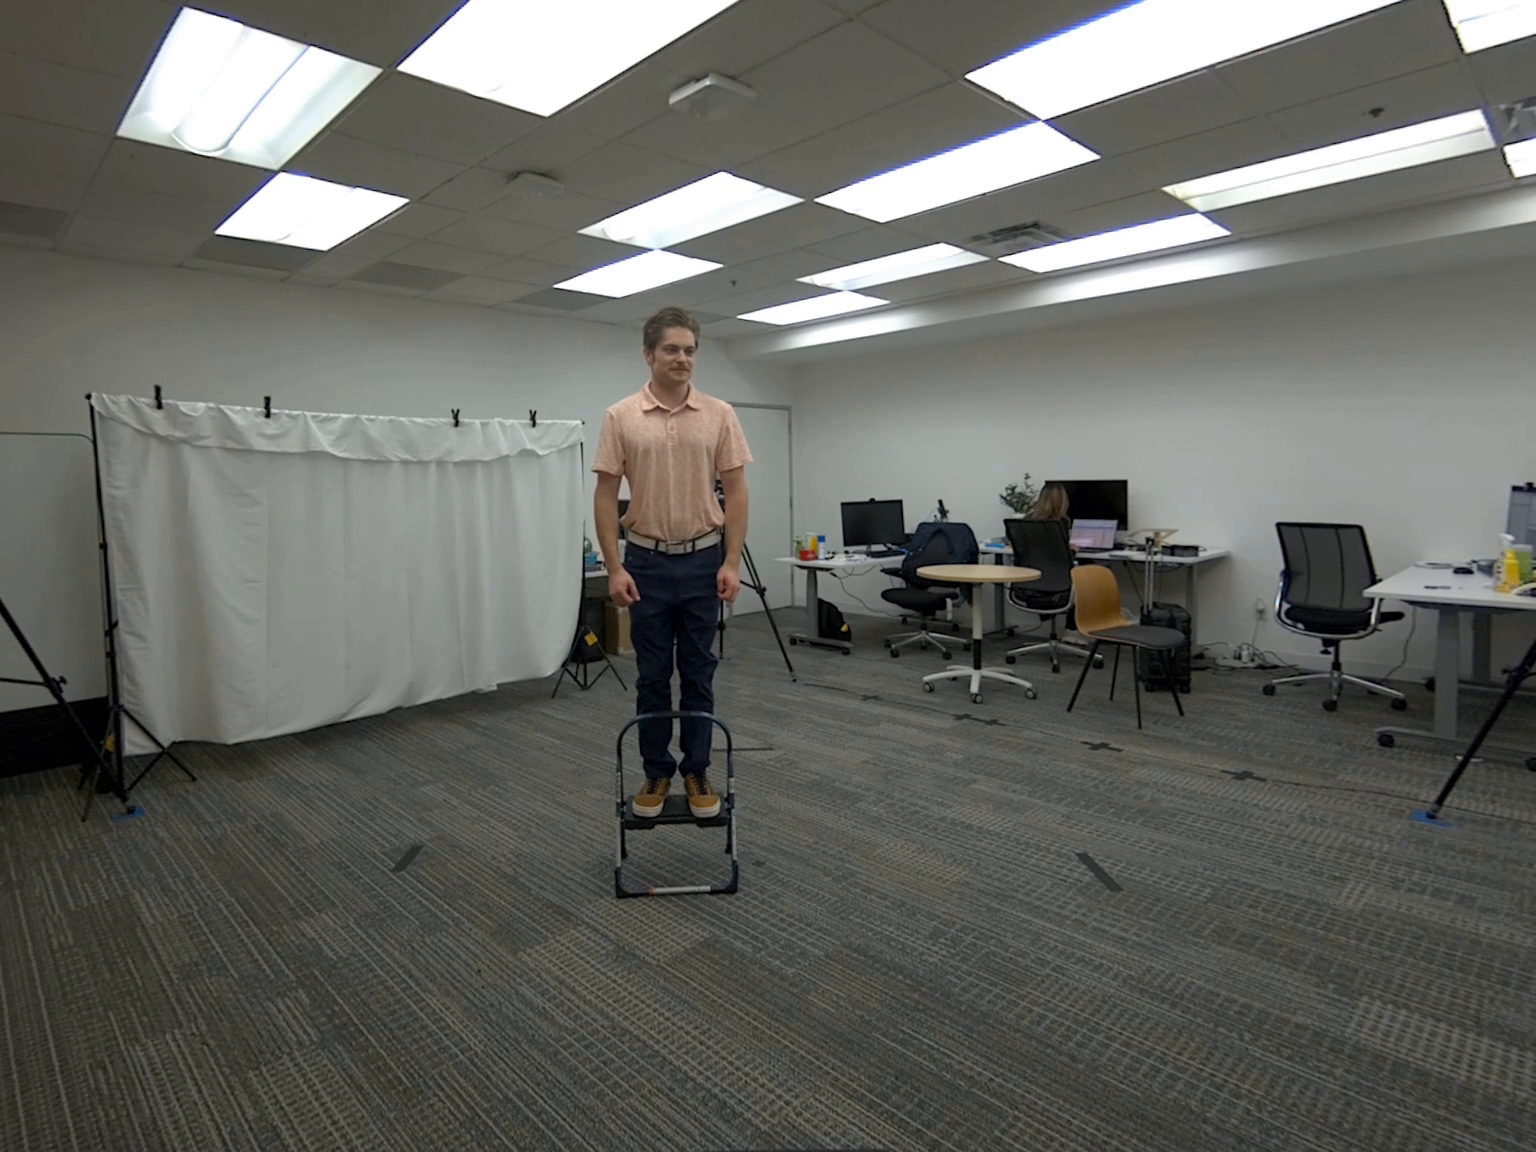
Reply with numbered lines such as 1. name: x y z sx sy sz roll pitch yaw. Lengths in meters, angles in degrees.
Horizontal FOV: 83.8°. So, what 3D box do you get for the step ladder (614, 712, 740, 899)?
1. step ladder: -0.328 0.763 3.026 0.429 0.604 0.352 -2 4 -5
